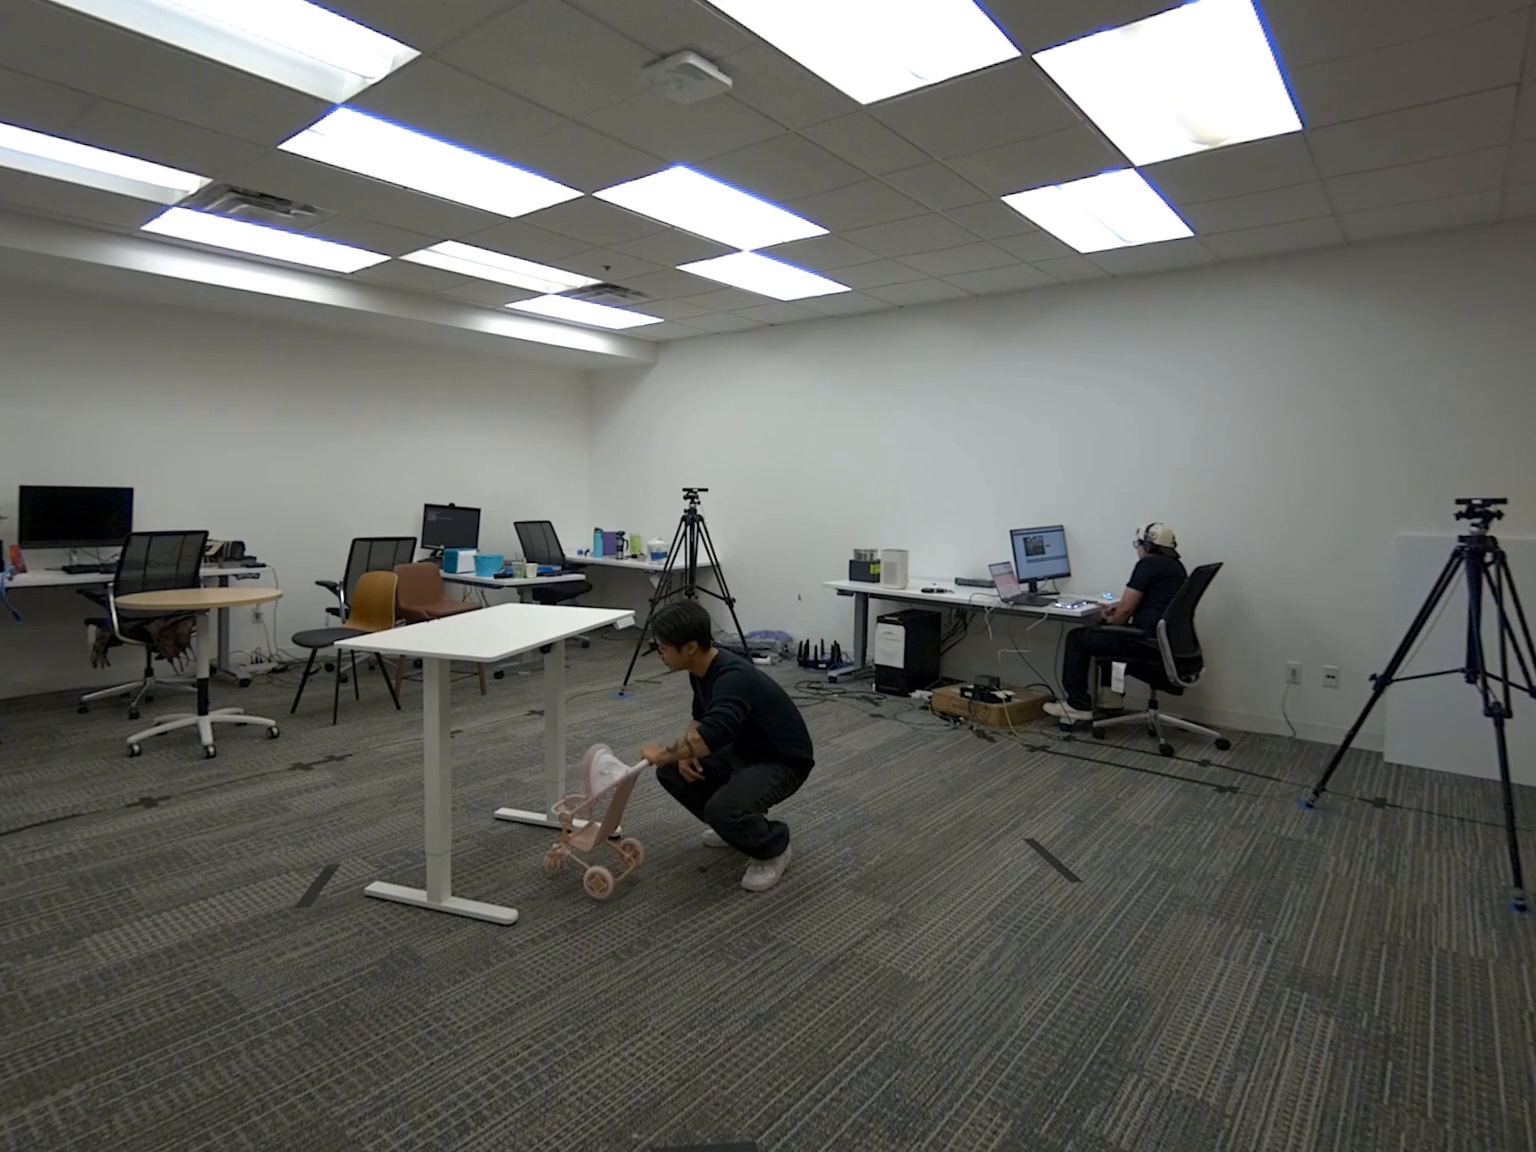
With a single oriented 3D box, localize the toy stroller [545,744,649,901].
[{"bbox_3d":[-0.604,0.826,2.961,0.350,0.532,0.276,15,8,20],"label":"toy stroller"}]
